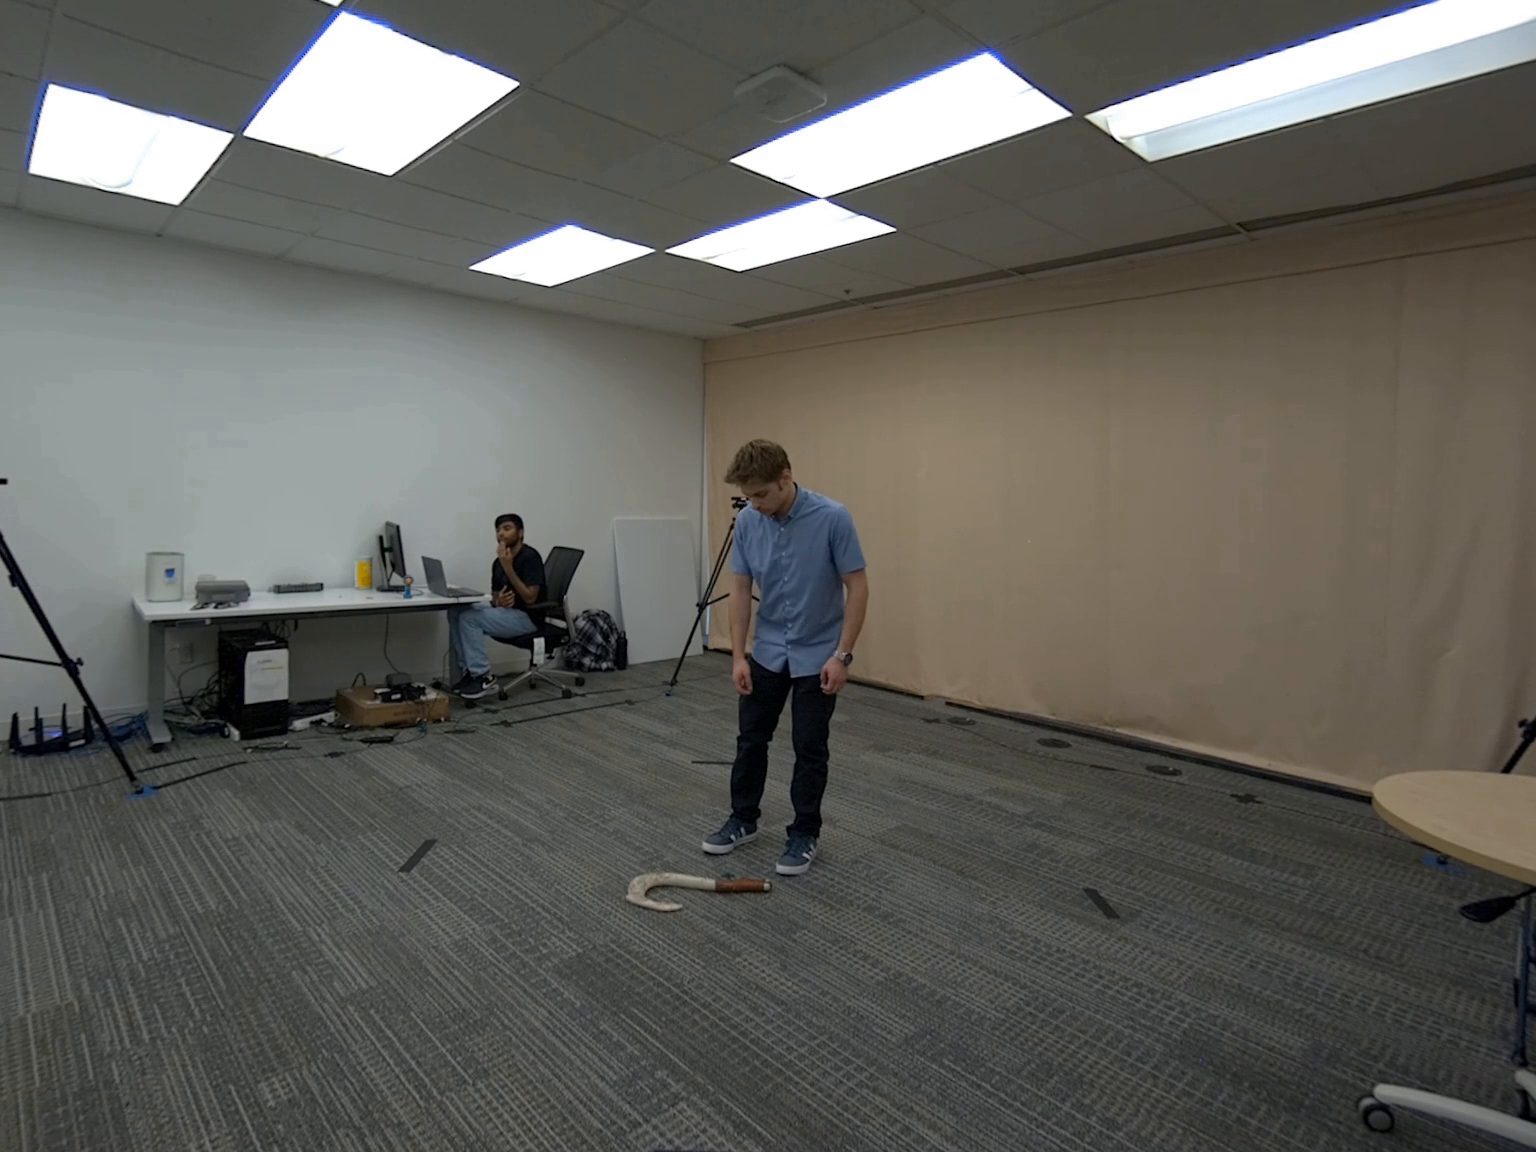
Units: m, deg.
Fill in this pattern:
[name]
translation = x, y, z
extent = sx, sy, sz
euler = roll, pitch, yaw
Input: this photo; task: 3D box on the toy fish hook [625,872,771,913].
[toy fish hook]
translation = -0.242, 1.105, 2.931
extent = 0.506, 0.048, 0.227
euler = 1, 13, 0
